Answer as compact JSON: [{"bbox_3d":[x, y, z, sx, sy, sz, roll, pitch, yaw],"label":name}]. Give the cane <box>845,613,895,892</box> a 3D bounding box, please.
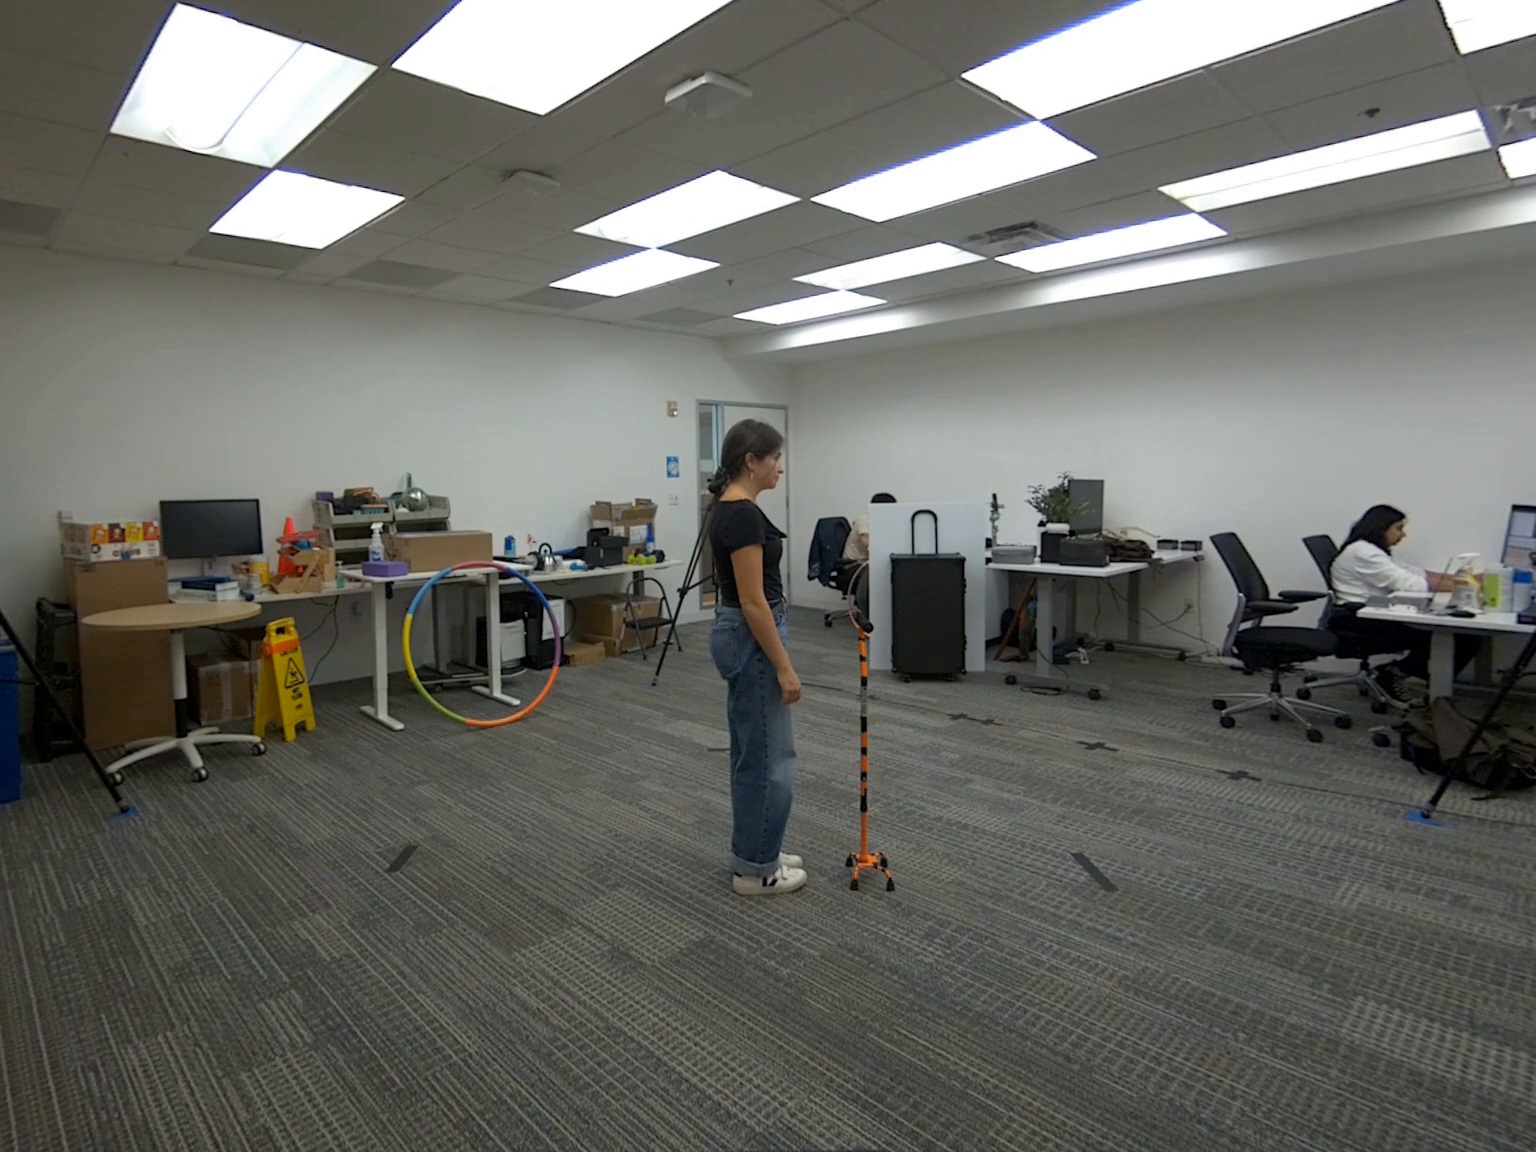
[{"bbox_3d":[0.345,0.596,2.956,0.152,0.905,0.207,-1,4,0],"label":"cane"}]
